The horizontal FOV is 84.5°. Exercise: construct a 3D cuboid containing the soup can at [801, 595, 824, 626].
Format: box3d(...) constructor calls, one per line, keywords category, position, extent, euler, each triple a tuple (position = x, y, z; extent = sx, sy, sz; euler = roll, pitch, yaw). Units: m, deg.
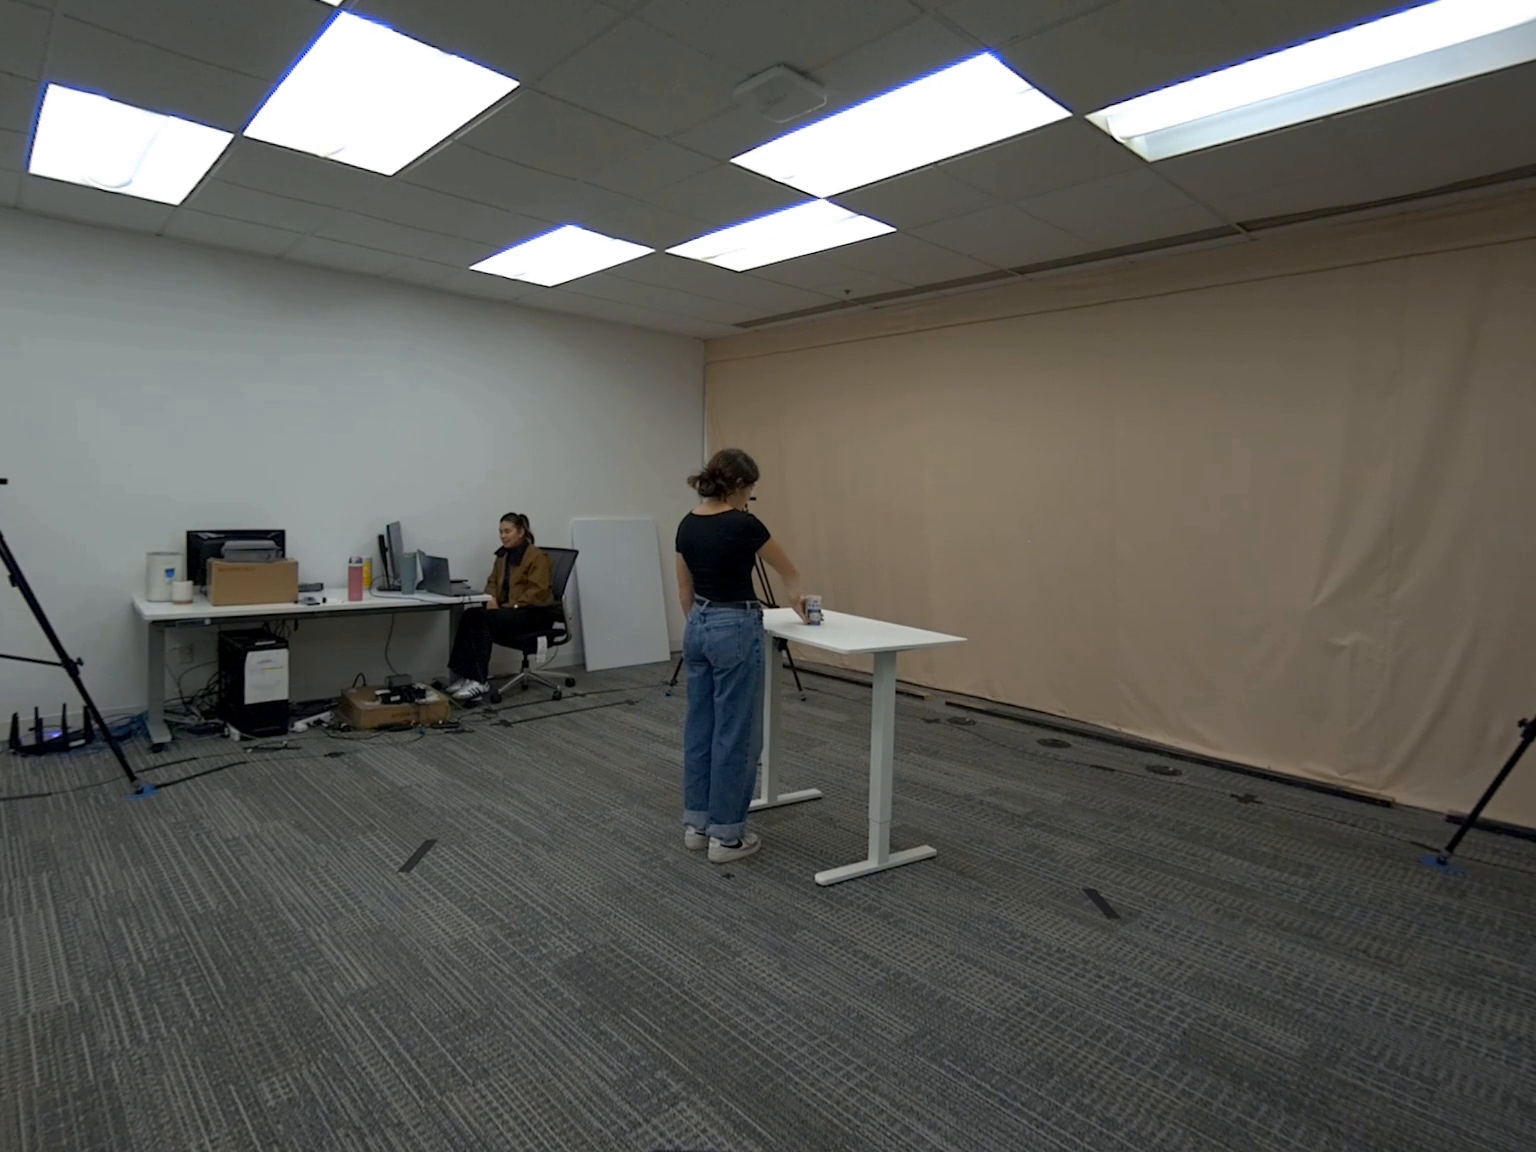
box3d(category="soup can", position=(0.168, 0.140, 3.479), extent=(0.067, 0.121, 0.067), euler=(2, 5, -2))
